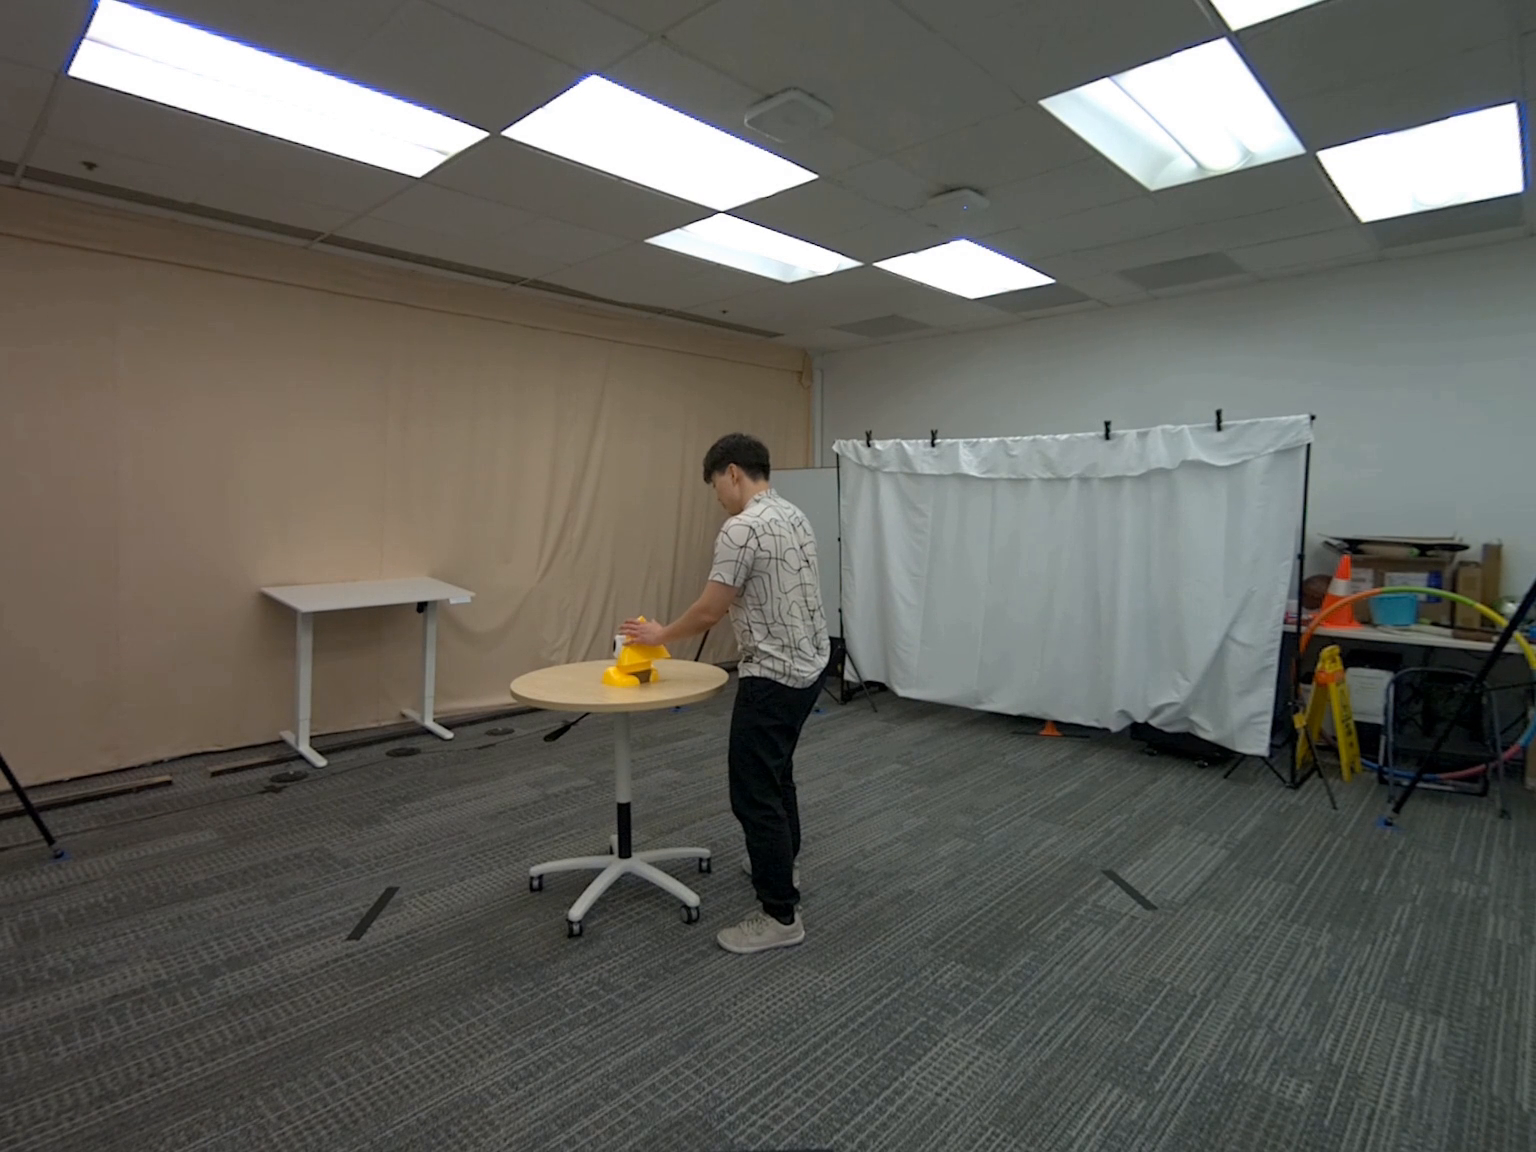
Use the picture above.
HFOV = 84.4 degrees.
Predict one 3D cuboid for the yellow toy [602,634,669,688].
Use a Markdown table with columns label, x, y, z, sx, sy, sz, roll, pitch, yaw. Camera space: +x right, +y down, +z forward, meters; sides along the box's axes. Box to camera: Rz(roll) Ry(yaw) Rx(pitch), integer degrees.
| label | x | y | z | sx | sy | sz | roll | pitch | yaw |
| --- | --- | --- | --- | --- | --- | --- | --- | --- | --- |
| yellow toy | -0.476 | 0.255 | 2.948 | 0.199 | 0.230 | 0.198 | 2 | 4 | 43 |
